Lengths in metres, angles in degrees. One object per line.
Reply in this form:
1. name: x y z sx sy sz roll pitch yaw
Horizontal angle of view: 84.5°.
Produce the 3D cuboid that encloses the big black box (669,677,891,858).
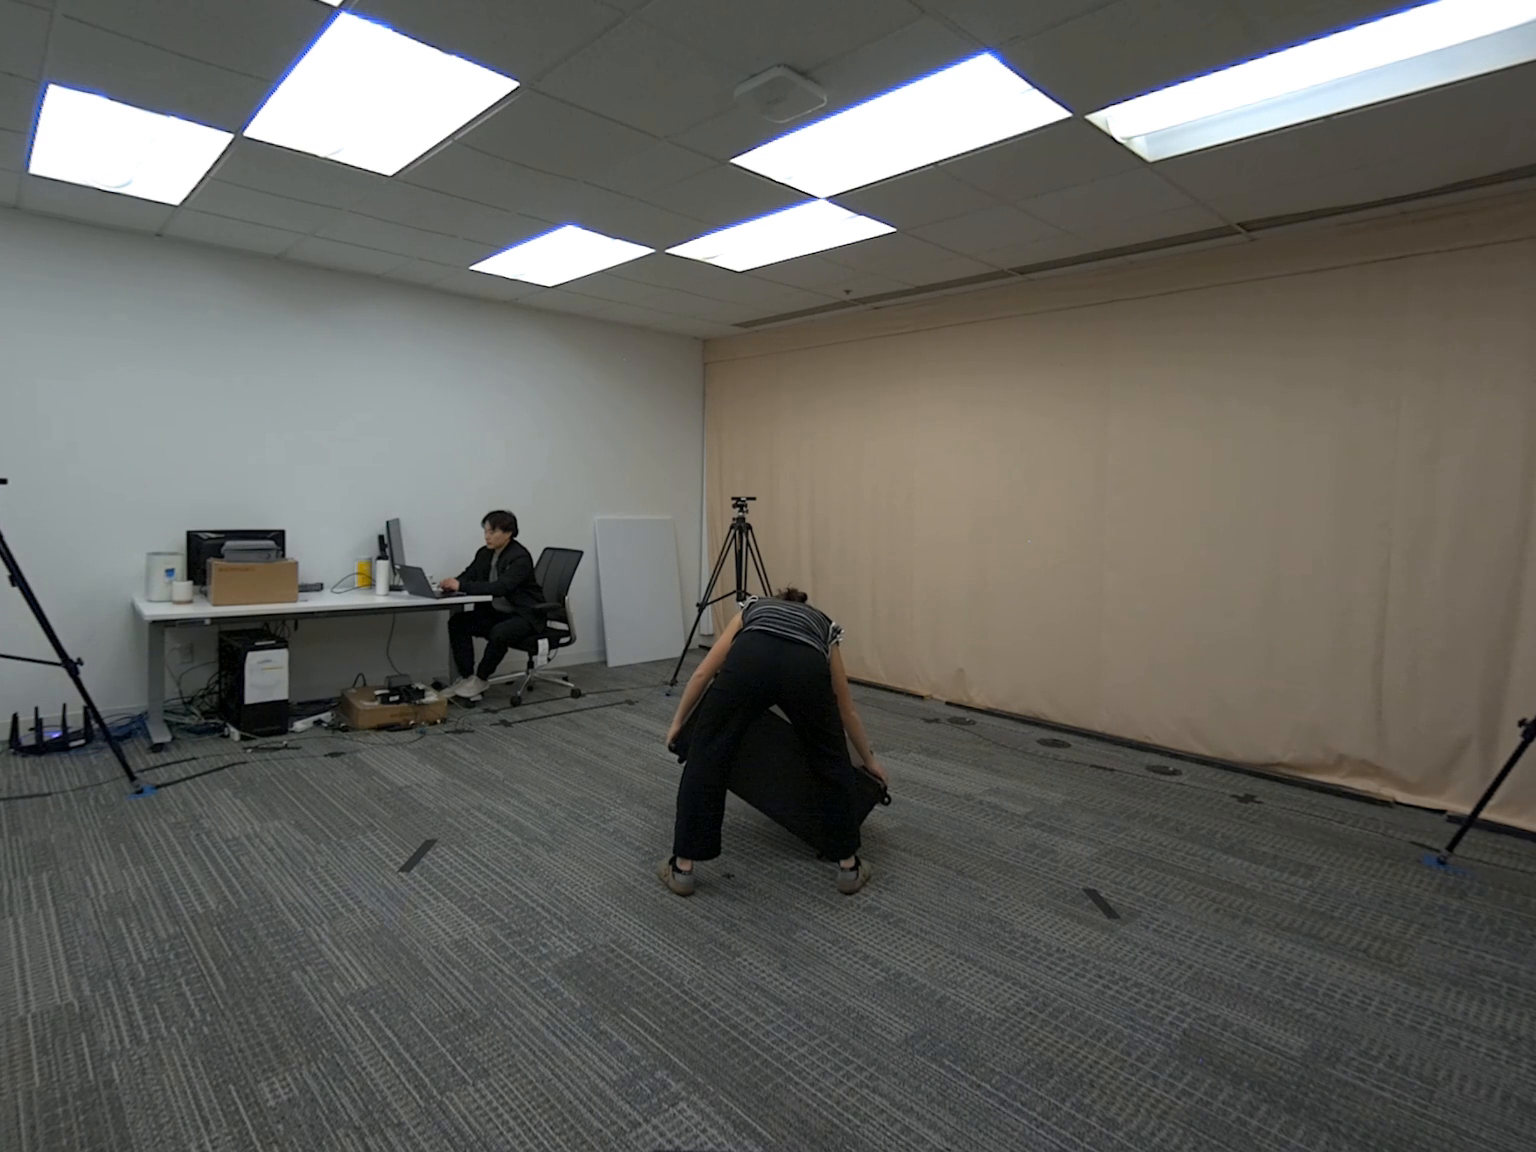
1. big black box: 0.042 0.752 3.482 0.862 0.396 0.521 33 4 0
